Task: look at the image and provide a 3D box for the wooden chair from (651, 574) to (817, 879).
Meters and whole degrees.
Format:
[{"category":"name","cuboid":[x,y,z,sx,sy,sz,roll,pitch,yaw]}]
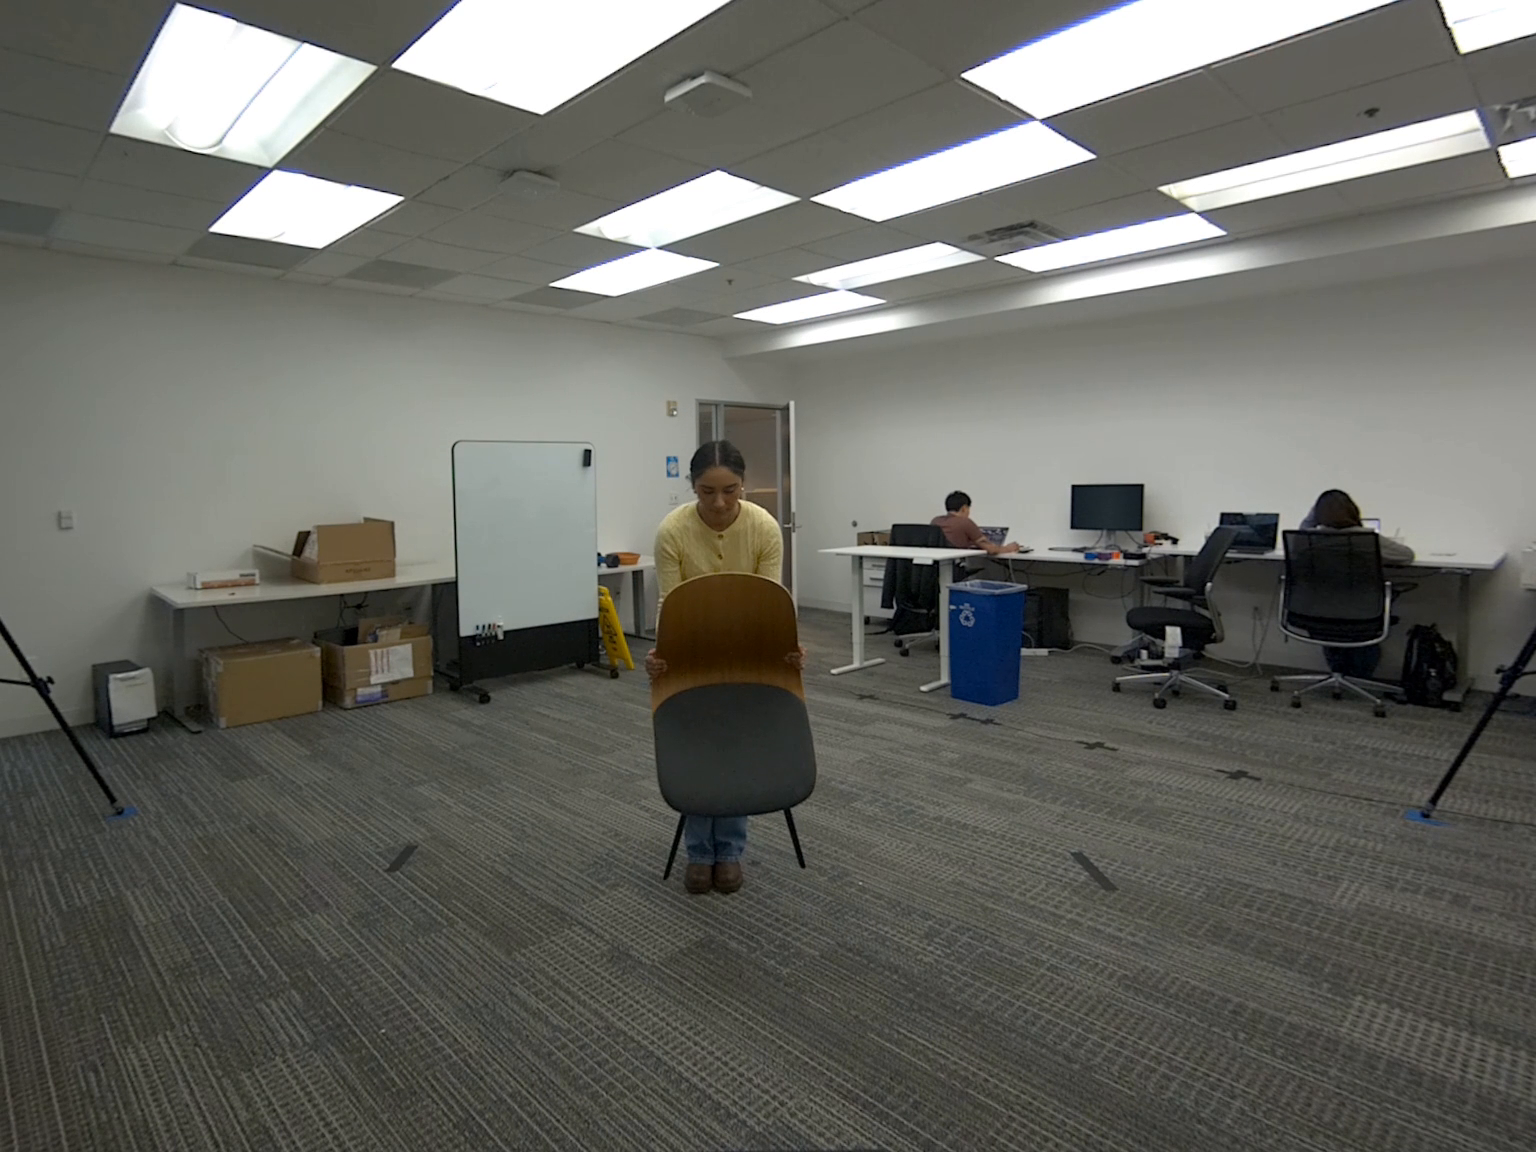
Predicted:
[{"category":"wooden chair","cuboid":[-0.107,0.493,2.557,0.476,0.855,0.539,-2,40,-6]}]
